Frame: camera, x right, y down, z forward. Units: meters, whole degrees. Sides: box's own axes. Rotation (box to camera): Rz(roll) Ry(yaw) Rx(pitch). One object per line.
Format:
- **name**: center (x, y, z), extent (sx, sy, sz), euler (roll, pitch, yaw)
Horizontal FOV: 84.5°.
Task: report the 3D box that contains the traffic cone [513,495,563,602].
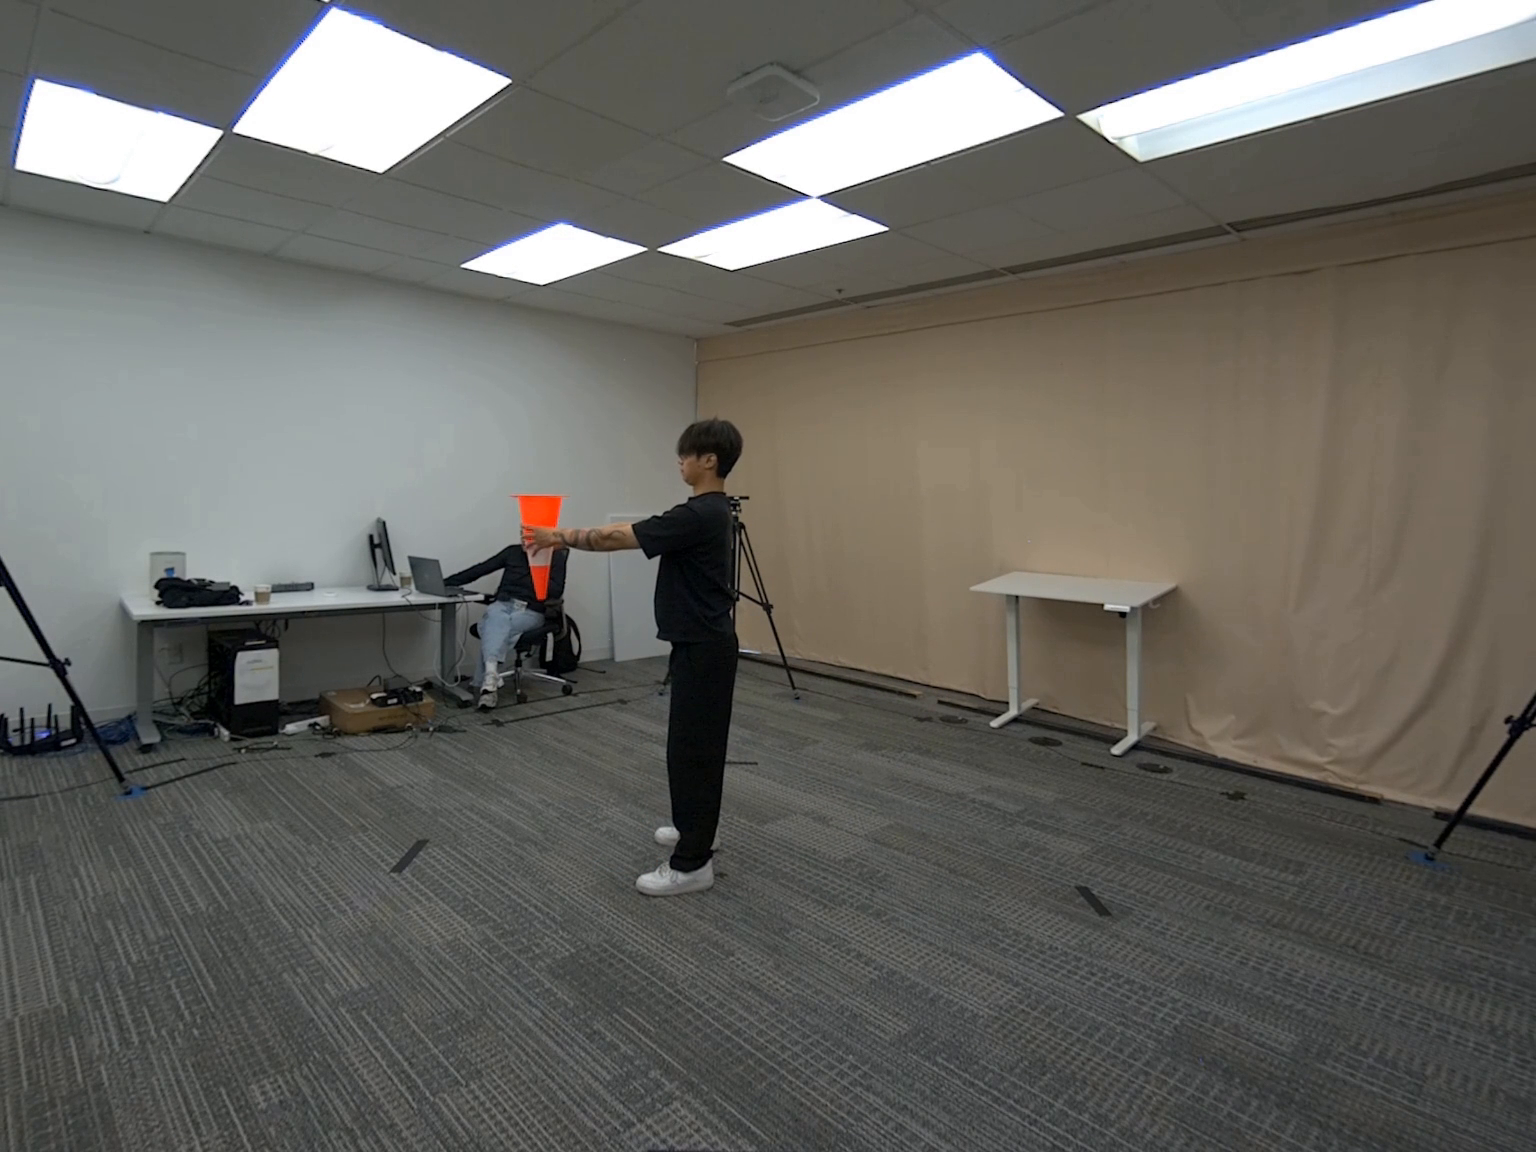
- **traffic cone**: center (-0.854, -0.097, 3.118), extent (0.204, 0.383, 0.205), euler (3, 4, 3)
